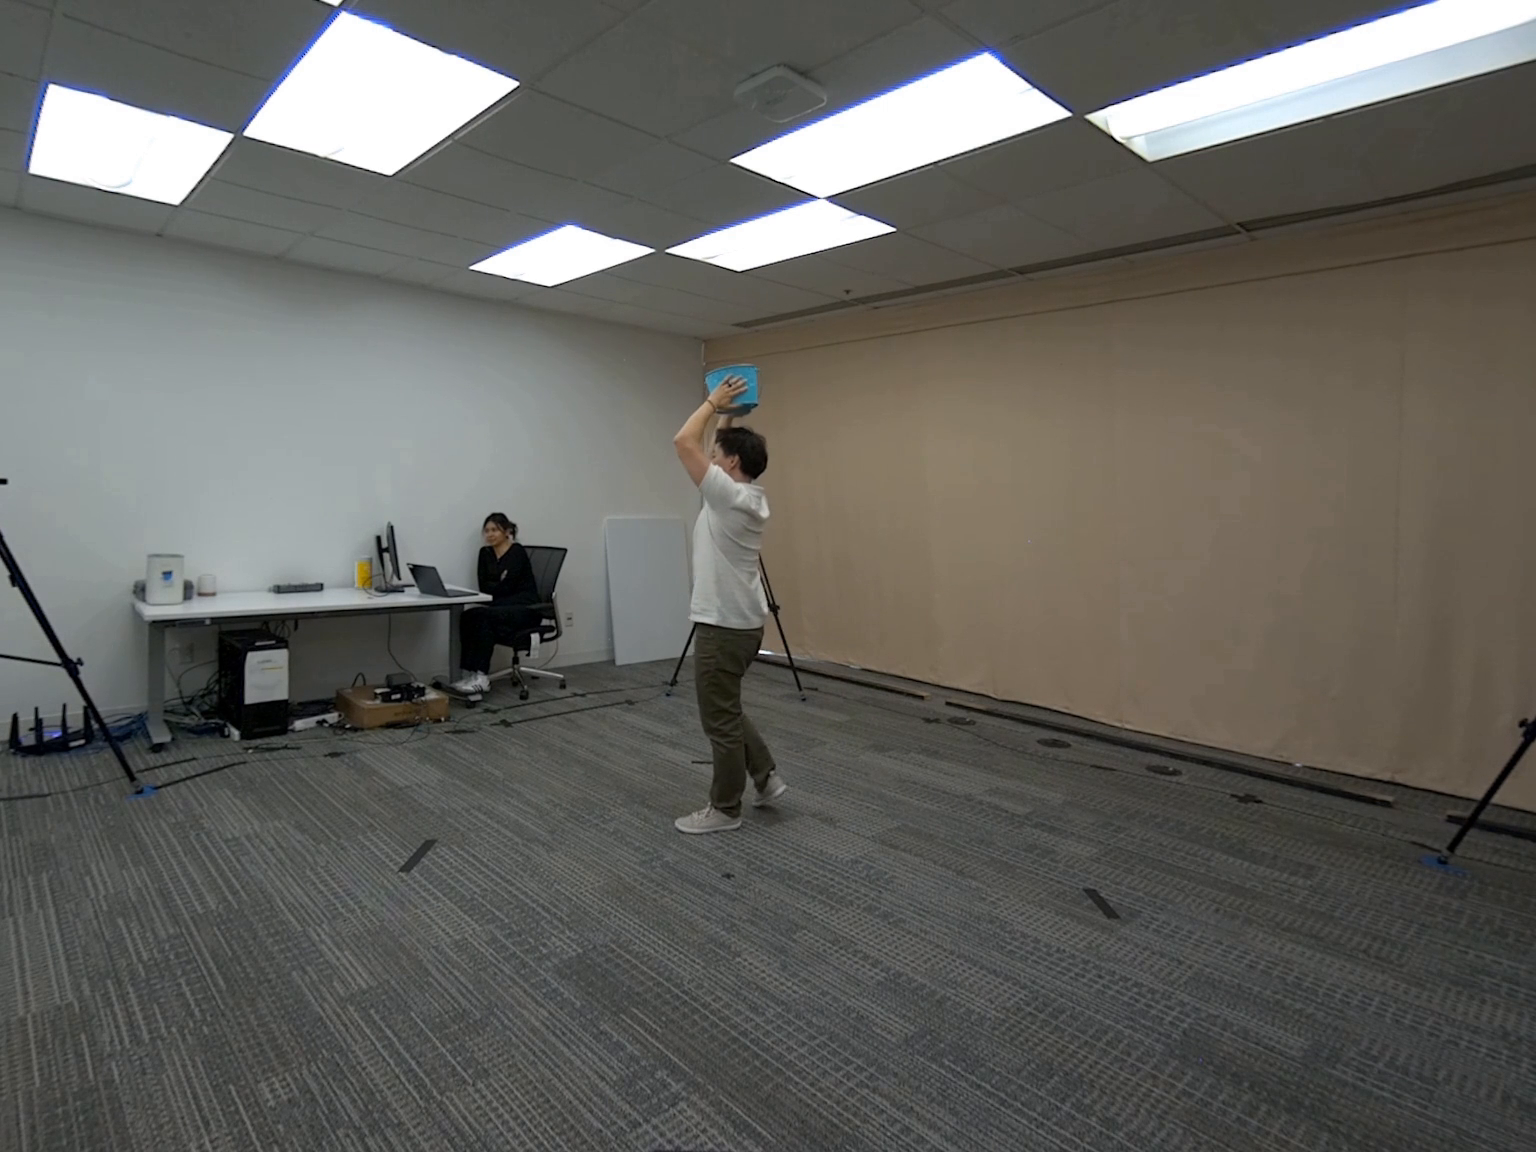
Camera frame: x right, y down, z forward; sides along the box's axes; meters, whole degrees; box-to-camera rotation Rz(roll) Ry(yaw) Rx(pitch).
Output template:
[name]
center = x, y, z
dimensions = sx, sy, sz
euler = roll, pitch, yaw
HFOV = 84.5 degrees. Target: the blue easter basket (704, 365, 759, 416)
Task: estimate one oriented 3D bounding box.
[blue easter basket]
center = -0.138, -0.767, 3.524
dimensions = 0.243, 0.156, 0.243
euler = -6, 0, -1
